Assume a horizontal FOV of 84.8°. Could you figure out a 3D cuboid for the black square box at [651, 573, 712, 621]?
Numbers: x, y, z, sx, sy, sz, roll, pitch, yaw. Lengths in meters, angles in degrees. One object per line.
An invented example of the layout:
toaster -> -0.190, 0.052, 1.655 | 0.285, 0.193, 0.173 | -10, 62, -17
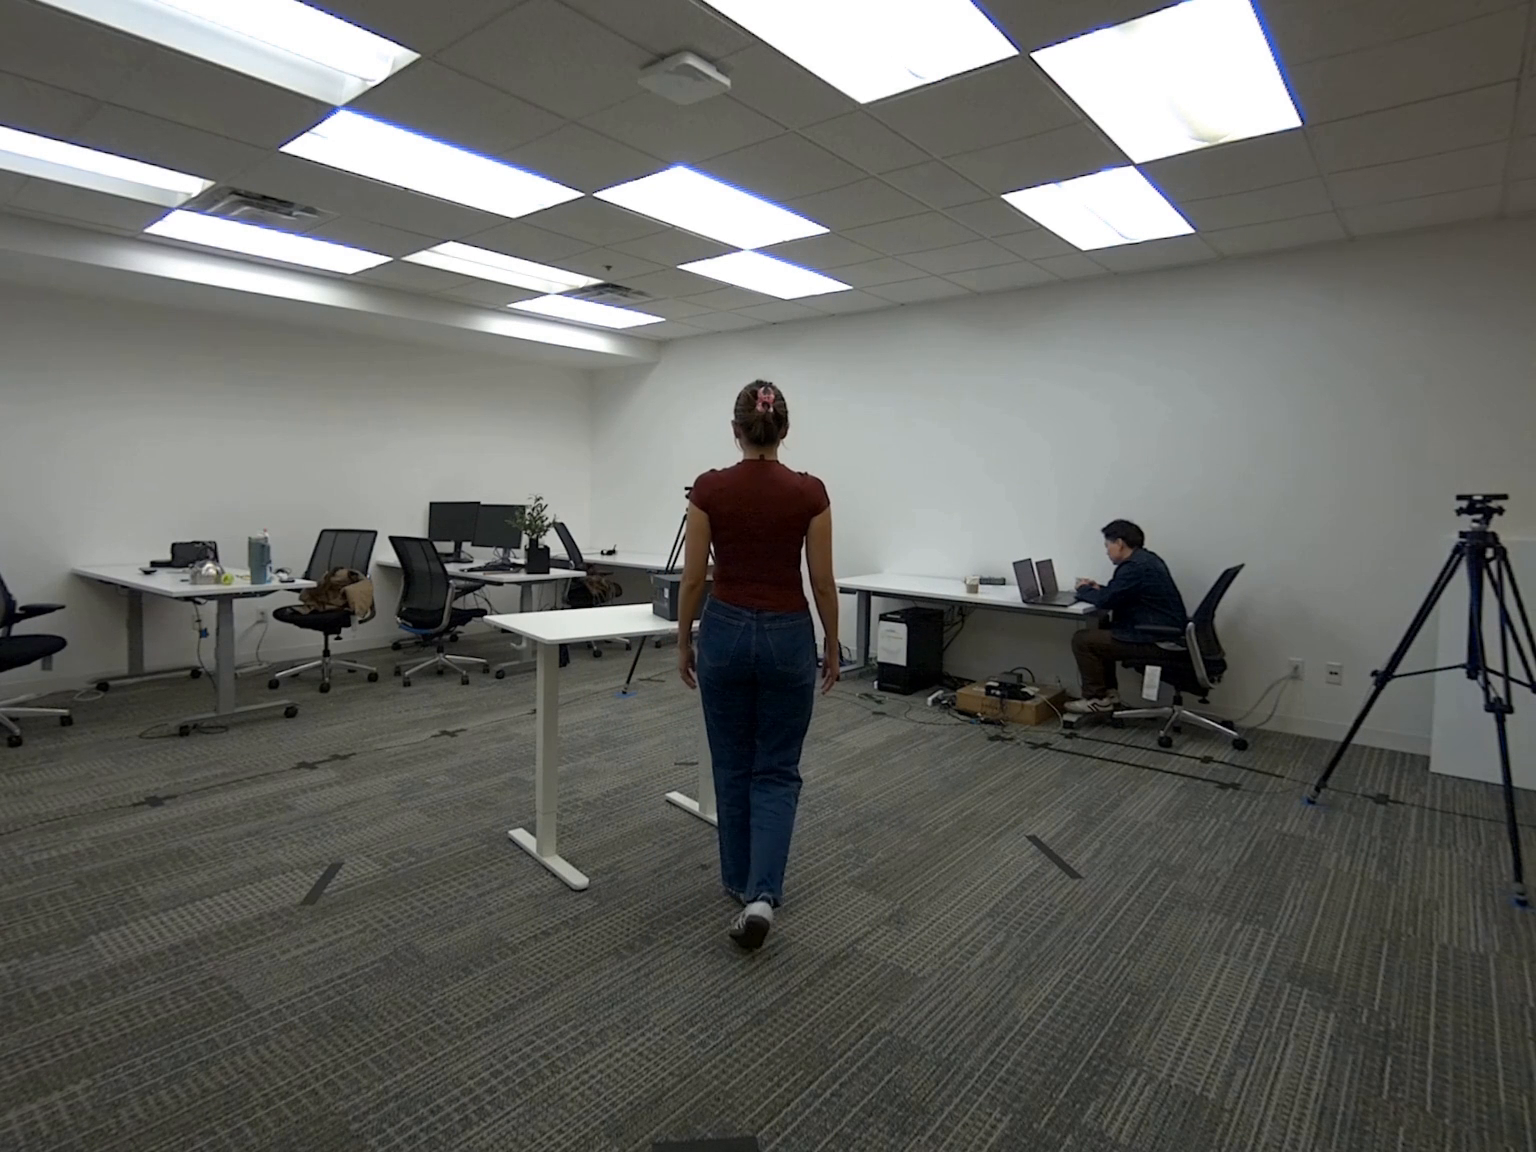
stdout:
black square box -> -0.325, 0.077, 3.359 | 0.223, 0.155, 0.223 | -1, 5, -24
